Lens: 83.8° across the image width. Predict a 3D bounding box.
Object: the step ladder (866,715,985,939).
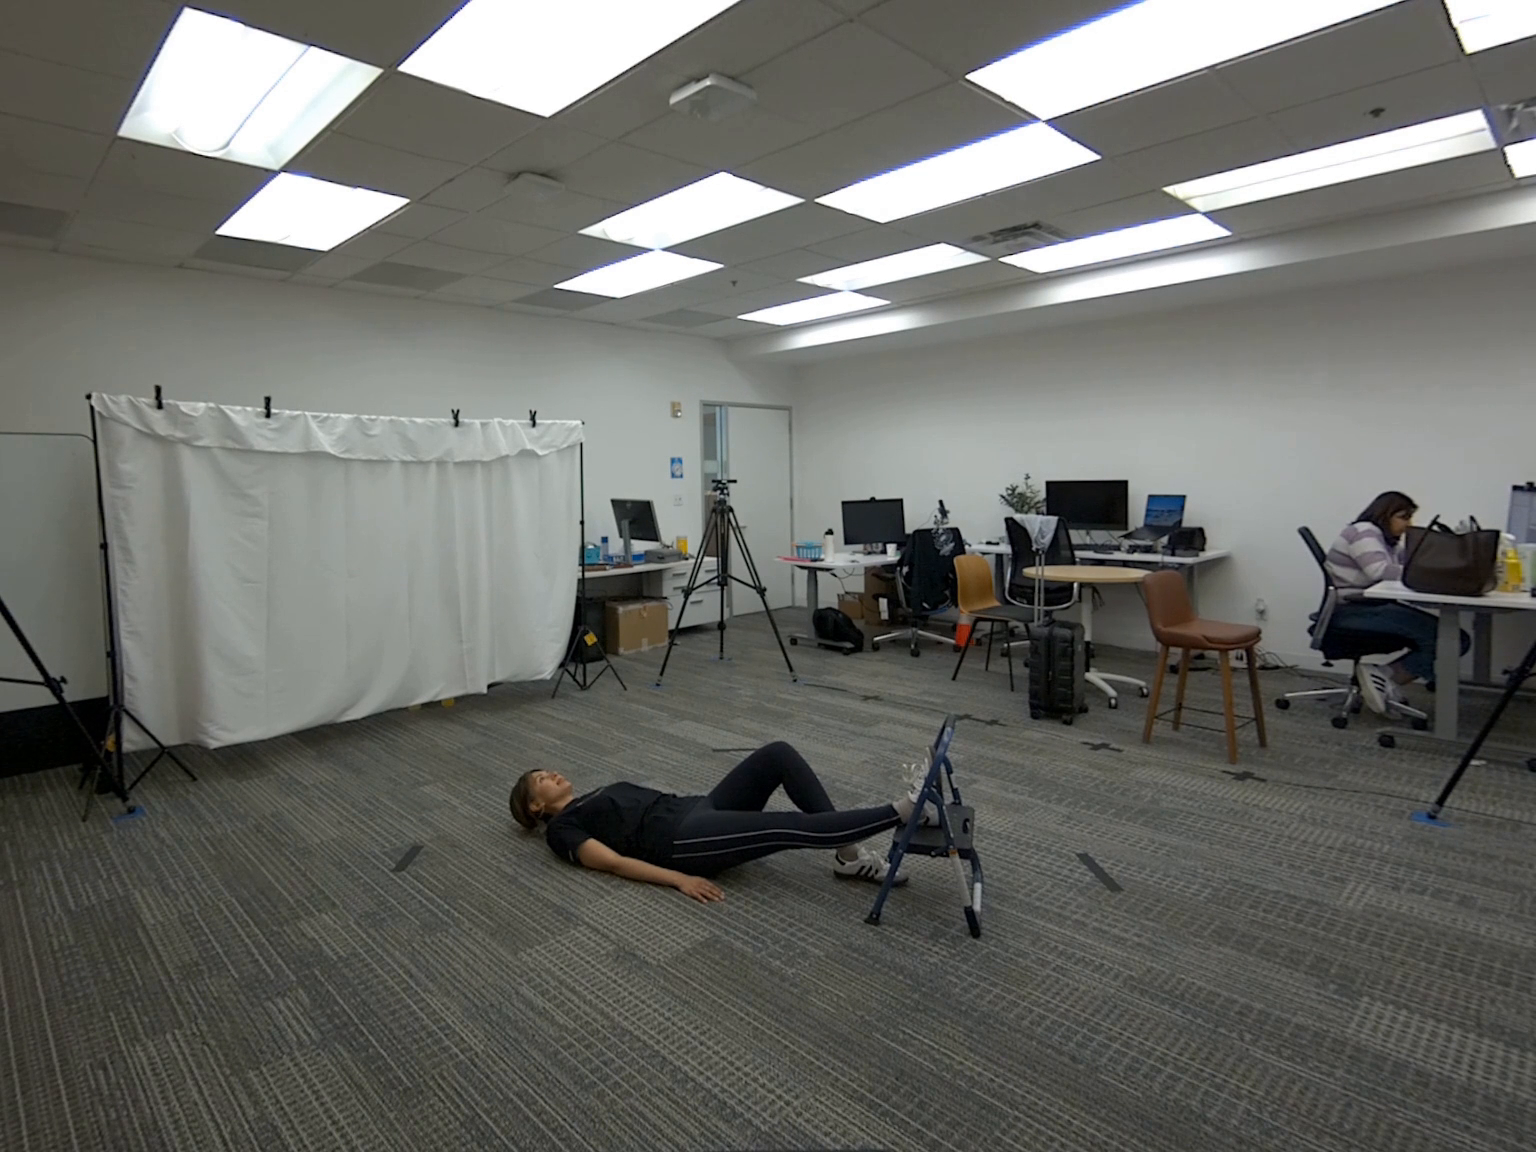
[{"bbox_3d":[0.527,0.771,2.799,0.355,0.604,0.425,0,4,16],"label":"step ladder"}]
